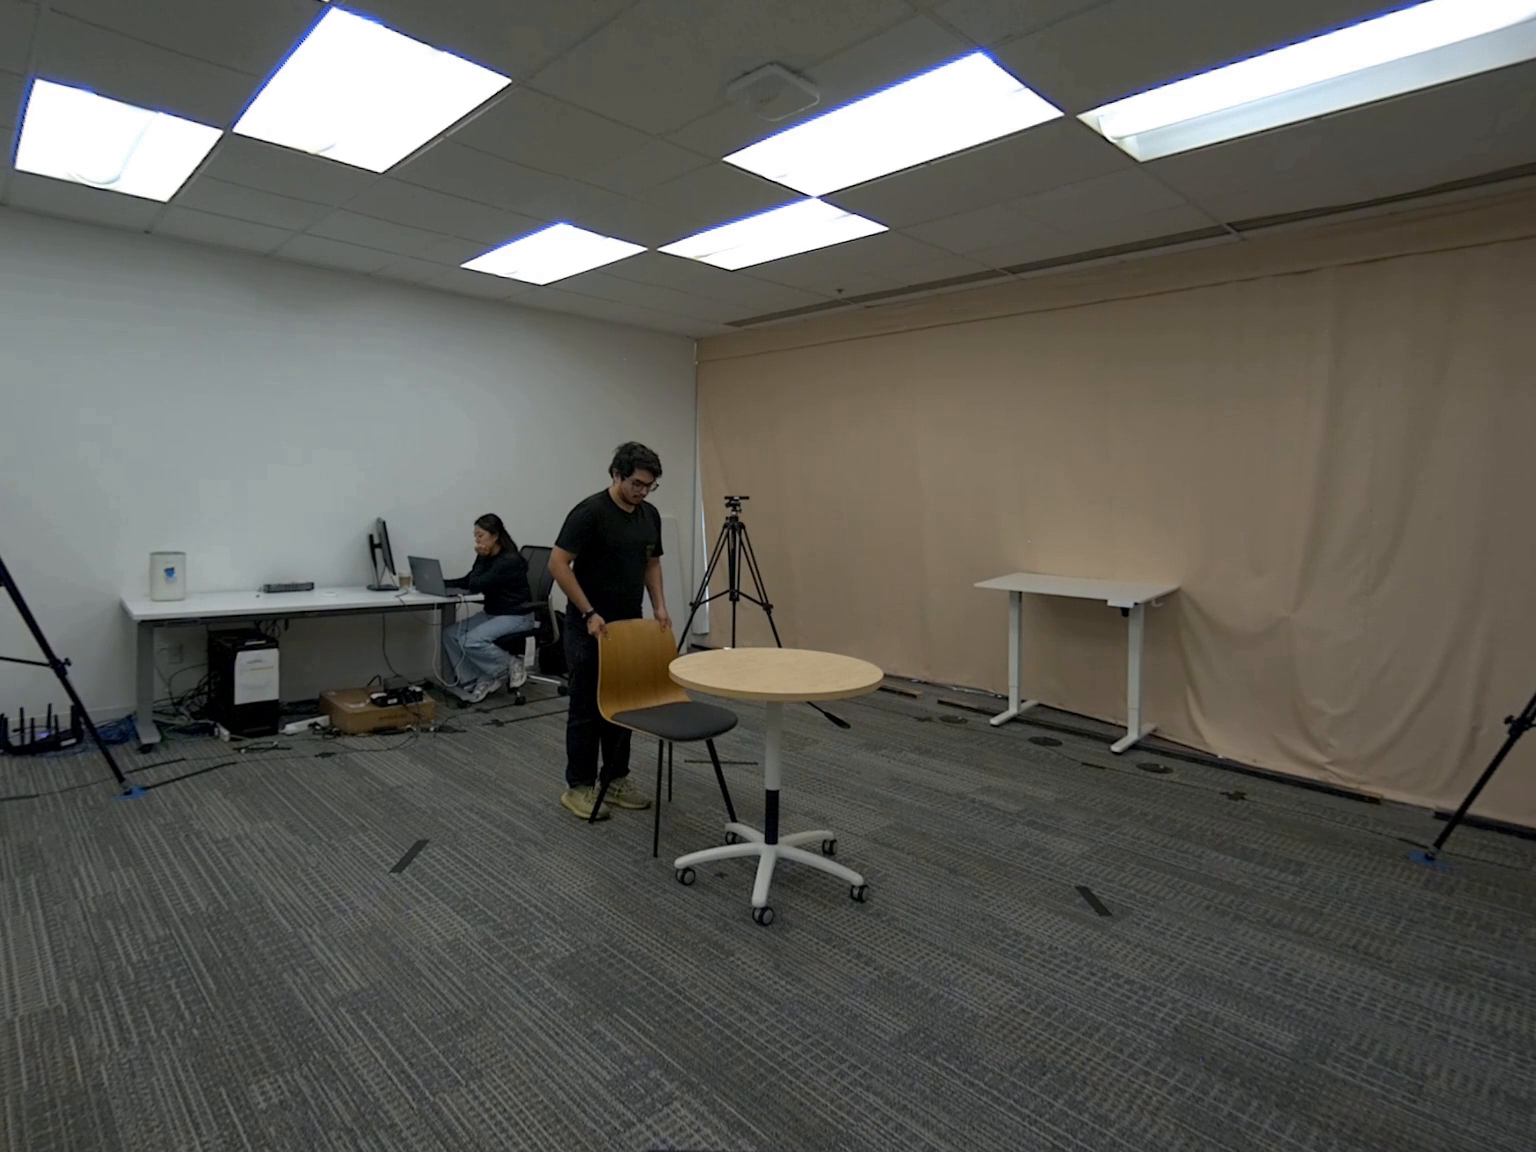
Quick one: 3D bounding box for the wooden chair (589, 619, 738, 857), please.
[{"bbox_3d":[-0.429,0.635,3.519,0.467,0.878,0.535,-1,-1,-45],"label":"wooden chair"}]
